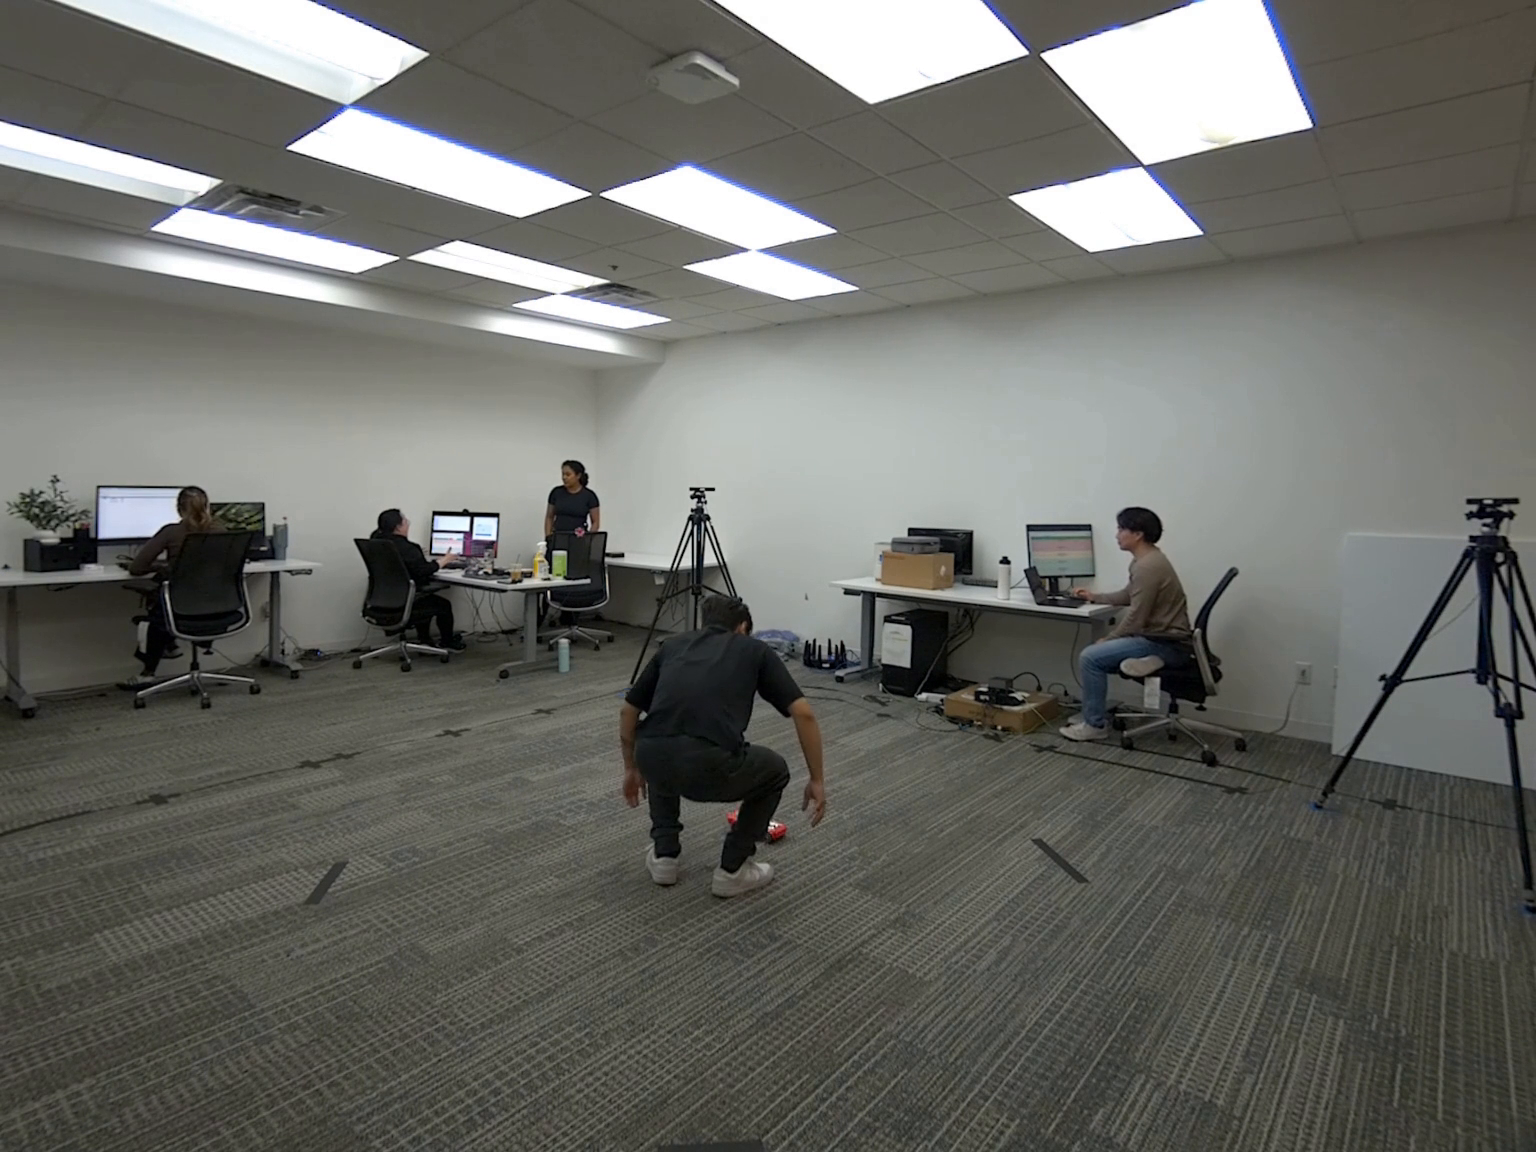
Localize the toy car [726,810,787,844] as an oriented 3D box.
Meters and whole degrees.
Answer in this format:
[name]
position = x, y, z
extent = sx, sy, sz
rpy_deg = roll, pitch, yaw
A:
[toy car]
position = -0.060, 1.003, 3.438
extent = 0.264, 0.082, 0.126
rpy_deg = 15, 12, 35
